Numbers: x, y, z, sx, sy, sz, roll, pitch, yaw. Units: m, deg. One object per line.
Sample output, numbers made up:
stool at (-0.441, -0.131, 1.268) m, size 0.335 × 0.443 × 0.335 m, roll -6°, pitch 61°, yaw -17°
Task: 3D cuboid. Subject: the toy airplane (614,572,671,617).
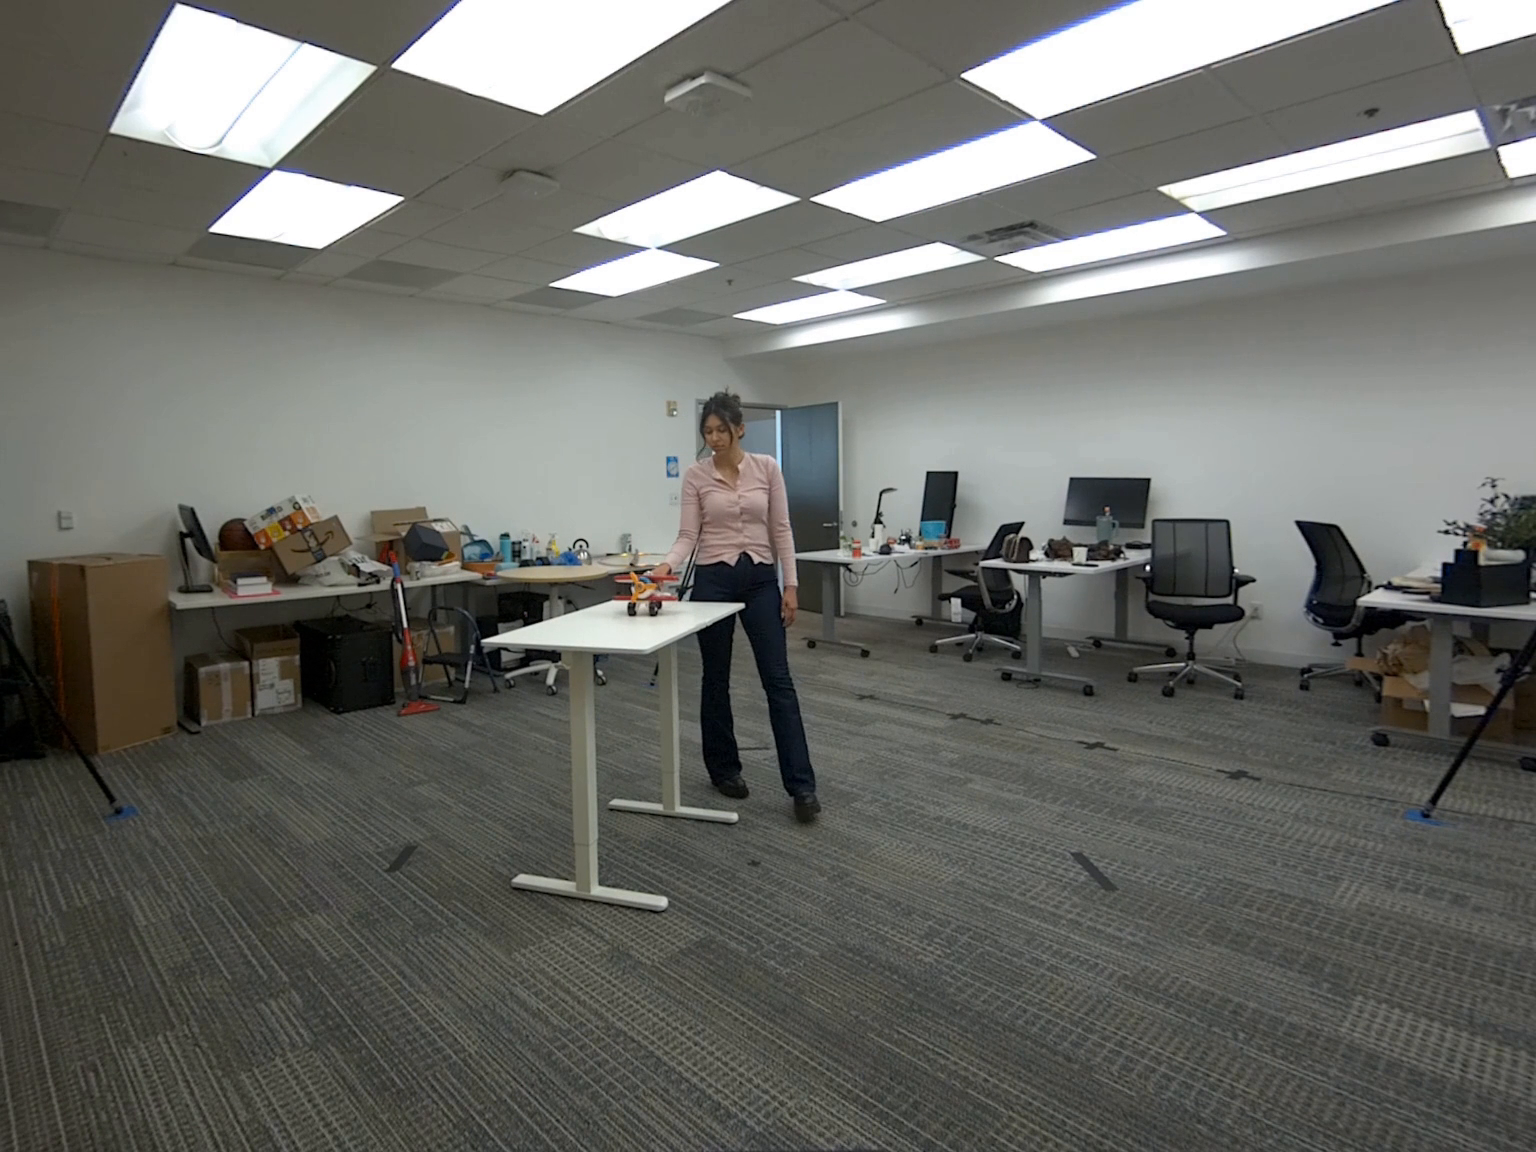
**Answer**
toy airplane at (-0.486, 0.069, 3.353) m, size 0.247 × 0.156 × 0.264 m, roll -2°, pitch 5°, yaw -18°
